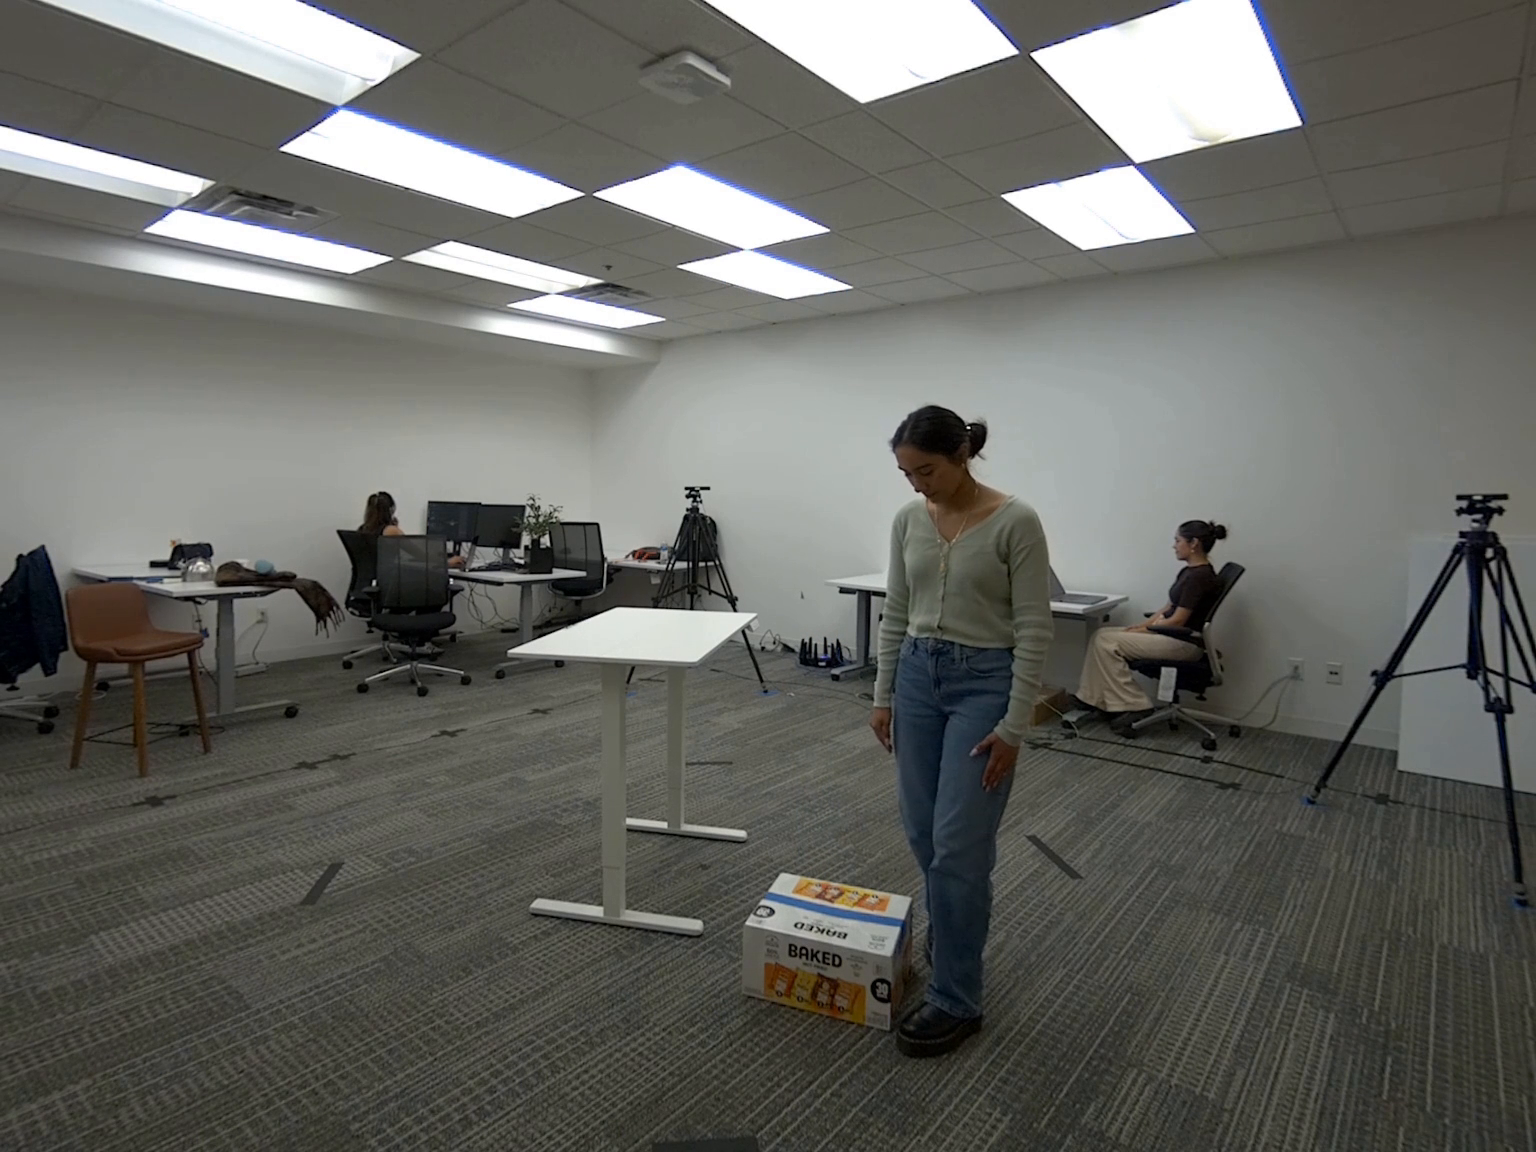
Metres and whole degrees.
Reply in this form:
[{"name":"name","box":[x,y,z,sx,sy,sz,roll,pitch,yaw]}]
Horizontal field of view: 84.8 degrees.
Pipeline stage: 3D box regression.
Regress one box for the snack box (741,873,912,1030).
[{"name":"snack box","box":[0.170,1.042,2.401,0.414,0.205,0.334,3,5,20]}]
